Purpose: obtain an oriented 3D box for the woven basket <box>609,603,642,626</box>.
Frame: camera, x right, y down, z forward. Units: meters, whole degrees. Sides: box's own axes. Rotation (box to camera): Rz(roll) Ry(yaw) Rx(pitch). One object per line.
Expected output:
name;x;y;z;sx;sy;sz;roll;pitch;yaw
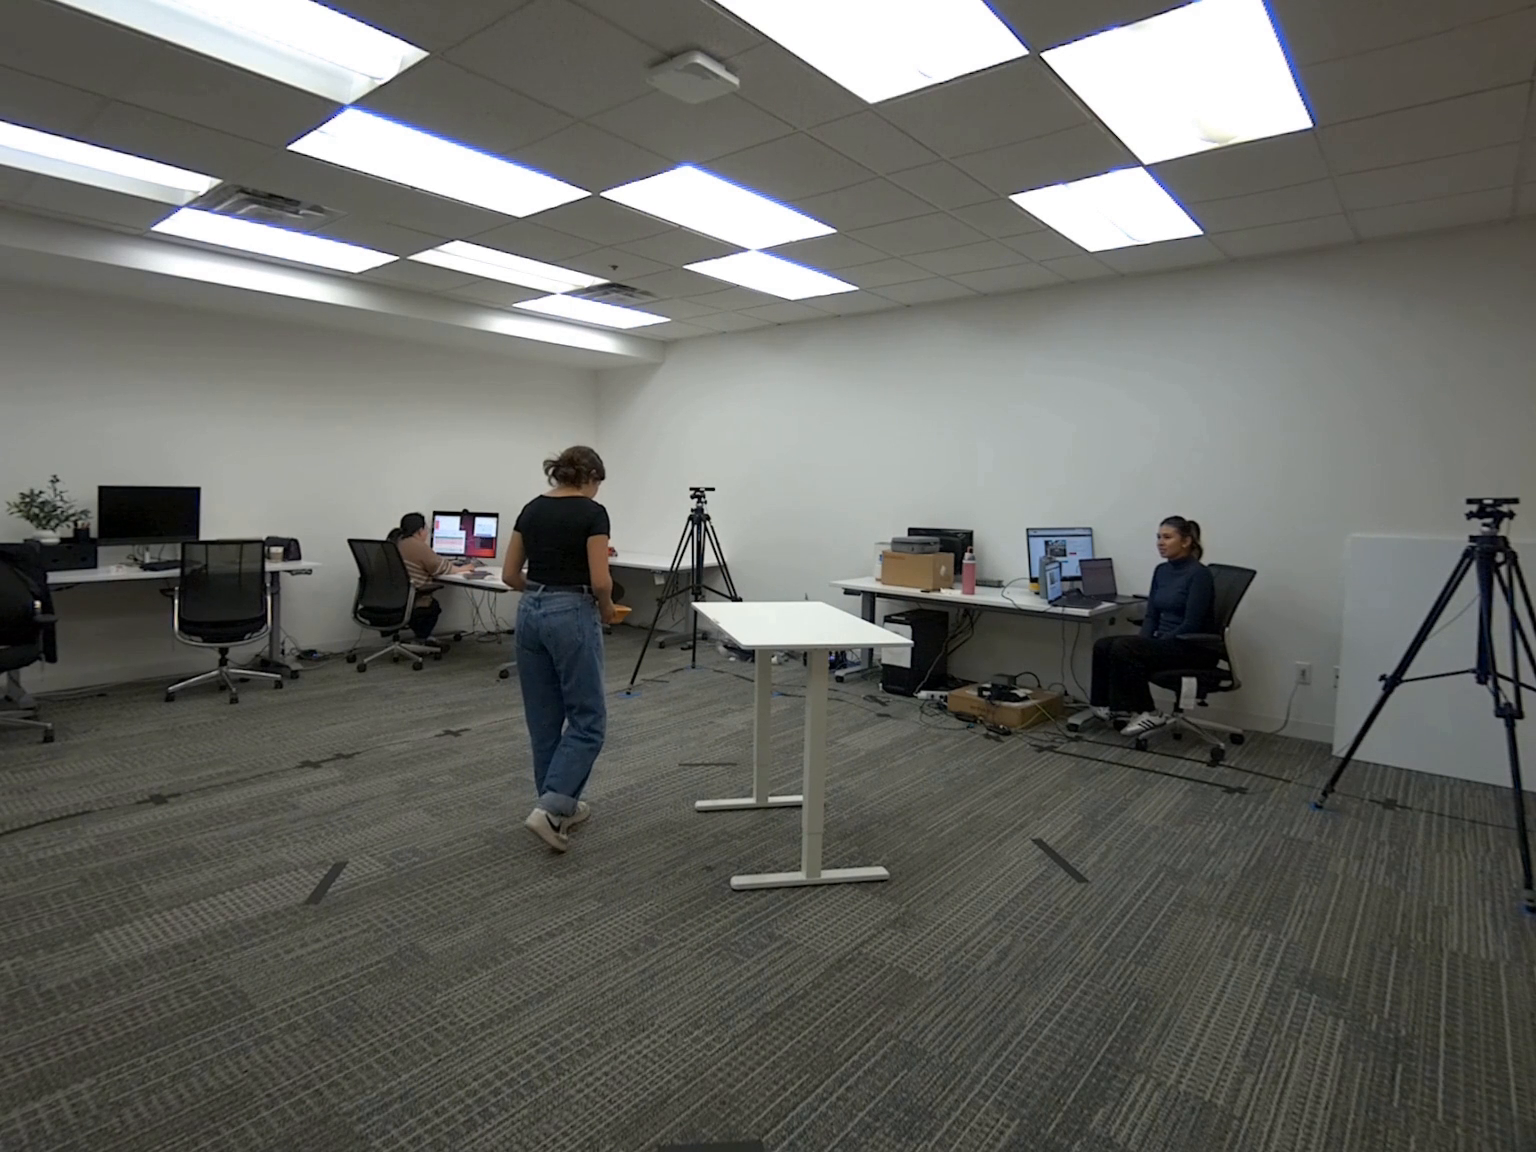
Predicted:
woven basket;-0.742;0.154;3.656;0.258;0.073;0.342;9;0;17
